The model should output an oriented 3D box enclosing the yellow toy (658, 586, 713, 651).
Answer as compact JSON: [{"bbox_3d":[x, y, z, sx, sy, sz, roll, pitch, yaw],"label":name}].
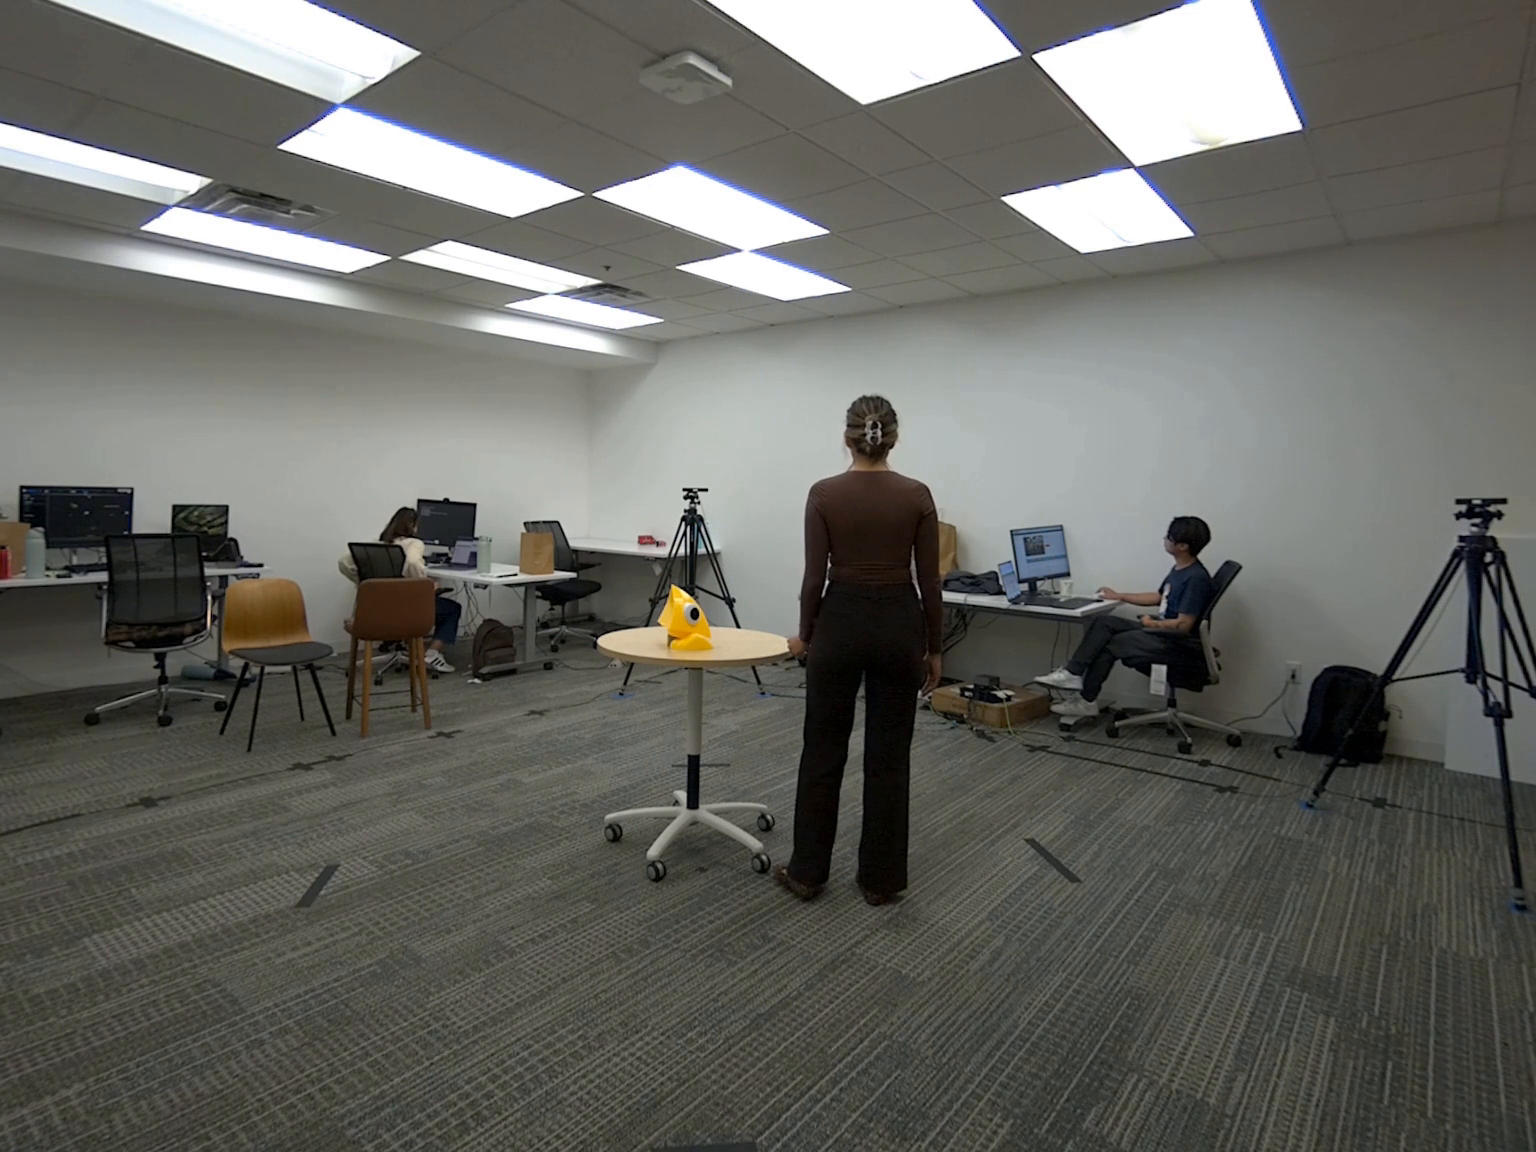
[{"bbox_3d":[-0.315,0.145,3.204,0.189,0.230,0.209,0,4,-19],"label":"yellow toy"}]
